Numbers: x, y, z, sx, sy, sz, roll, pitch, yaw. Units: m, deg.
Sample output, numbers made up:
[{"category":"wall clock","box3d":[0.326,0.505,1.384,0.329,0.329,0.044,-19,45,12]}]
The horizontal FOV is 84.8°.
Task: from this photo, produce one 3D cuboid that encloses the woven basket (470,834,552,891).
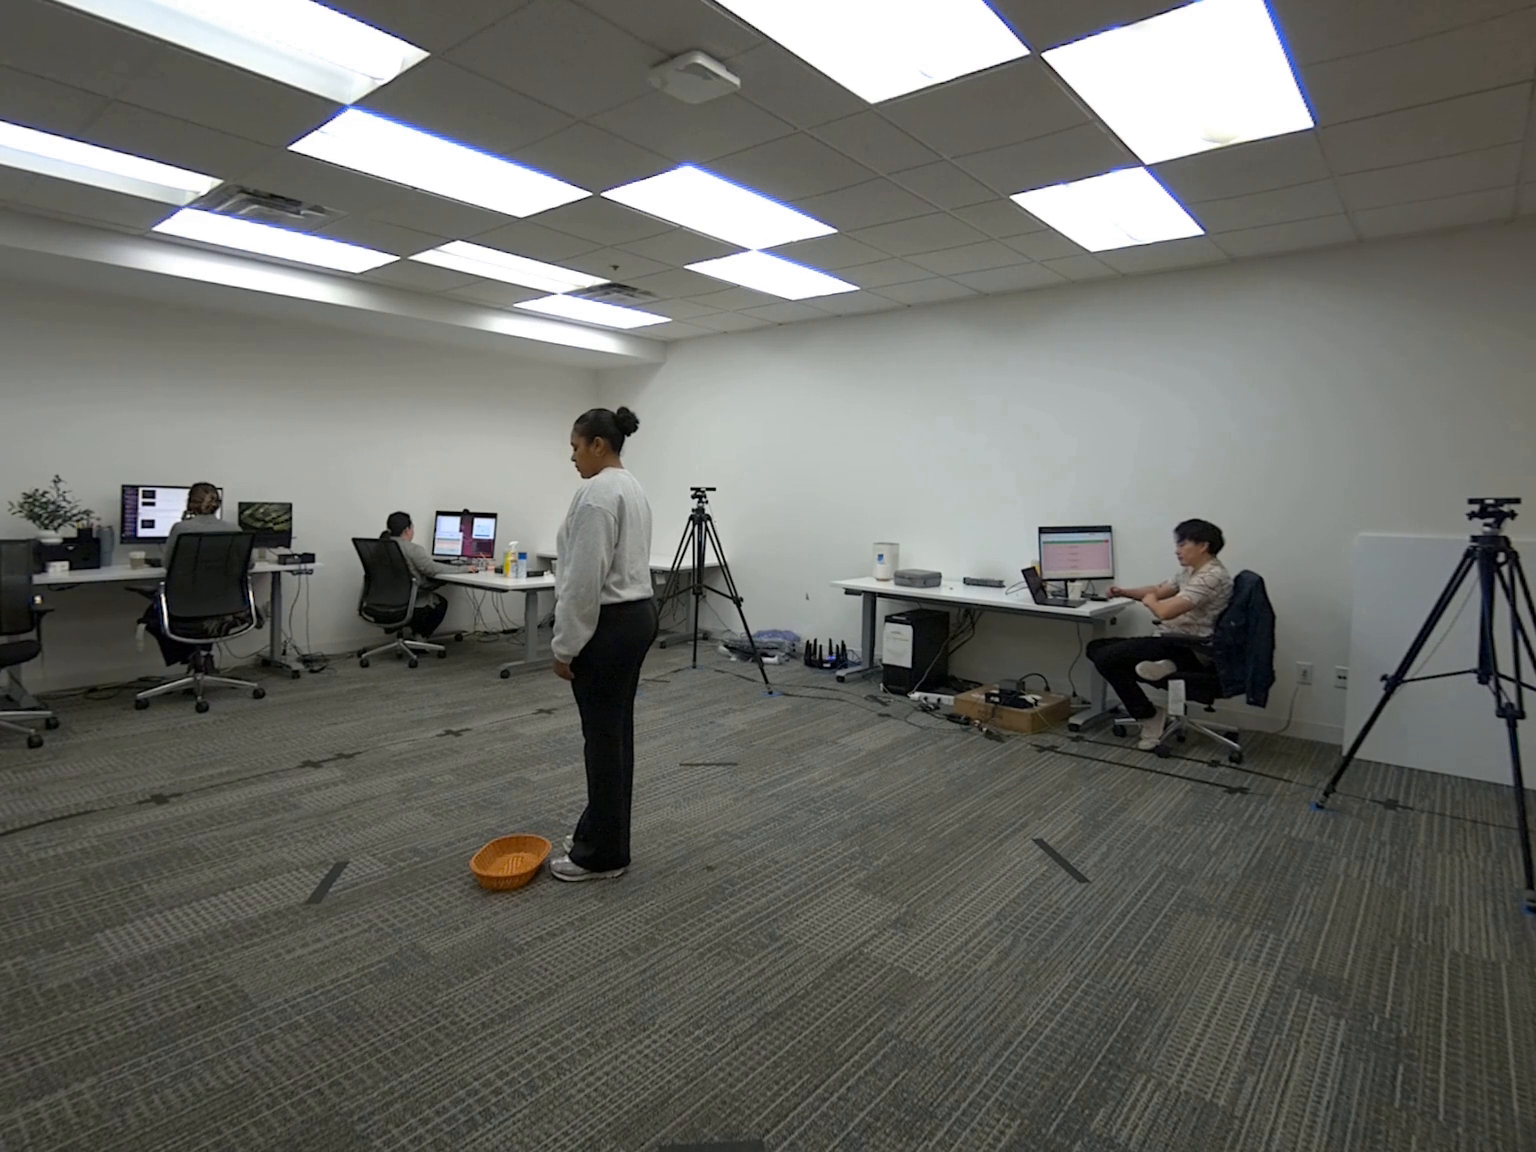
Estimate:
[{"category":"woven basket","box3d":[-0.927,1.023,3.049,0.255,0.073,0.348,1,6,9]}]
